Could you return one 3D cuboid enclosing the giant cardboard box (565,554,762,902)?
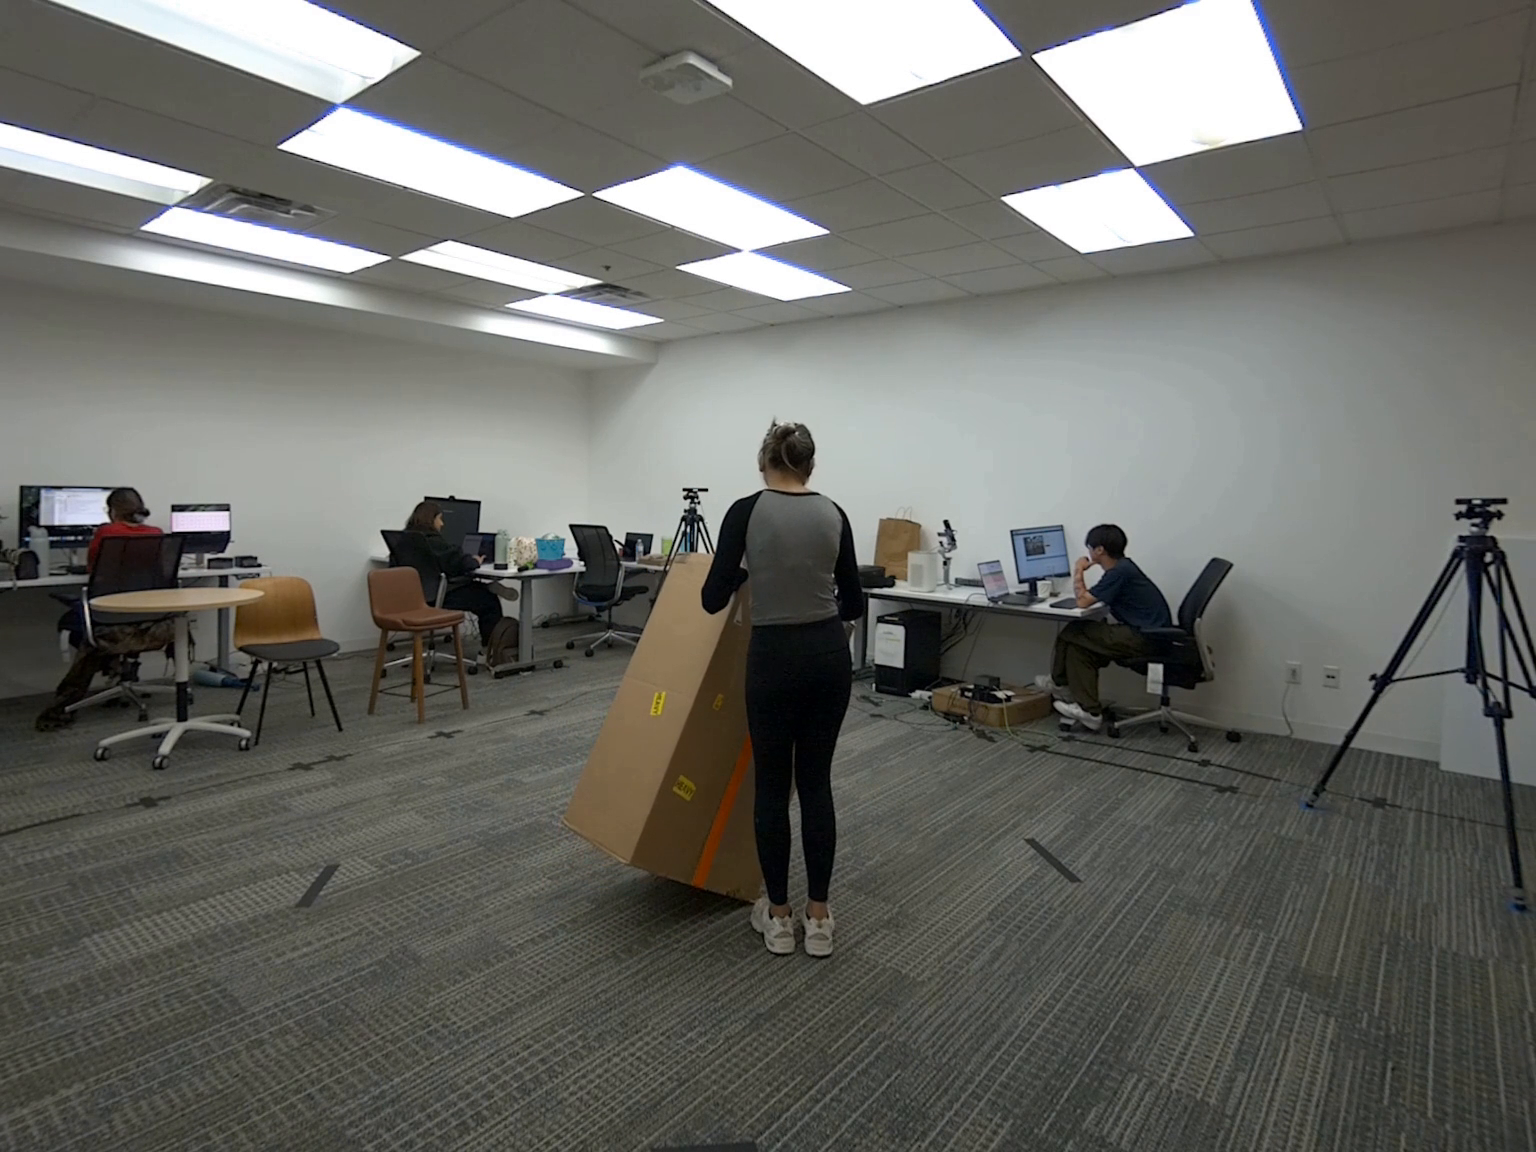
[{"bbox_3d":[-0.199,0.508,2.982,0.462,1.035,0.560,4,-23,48],"label":"giant cardboard box"}]
